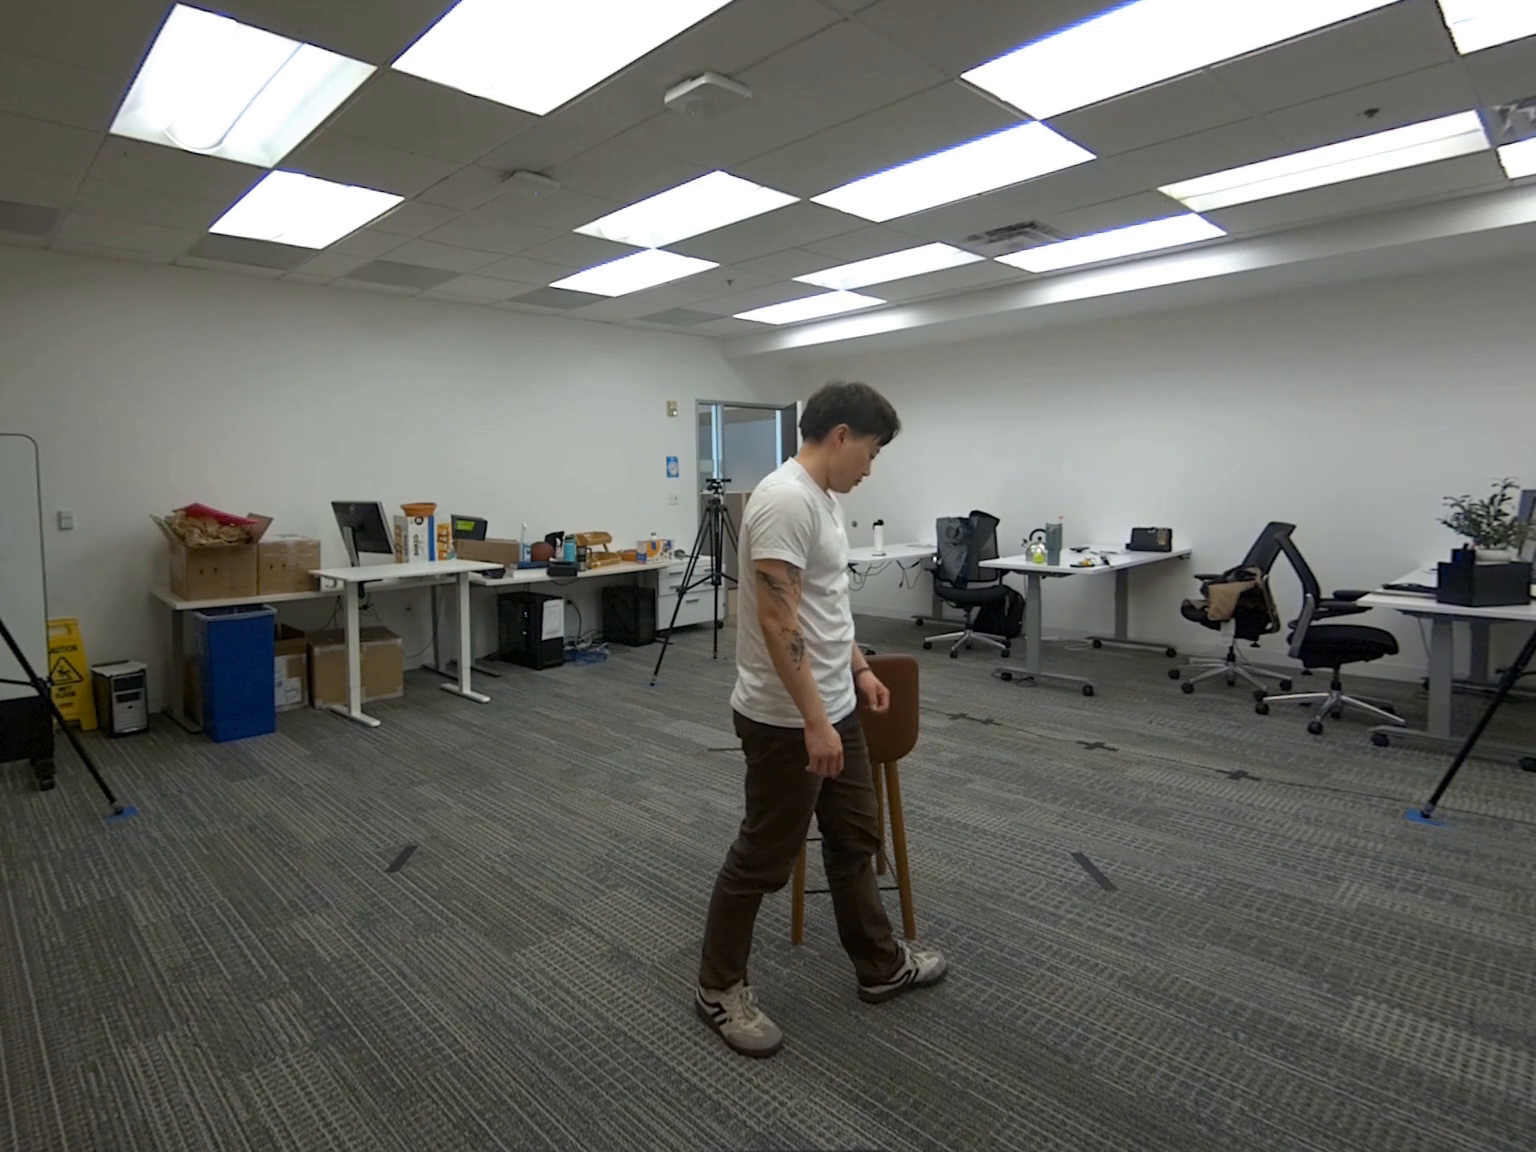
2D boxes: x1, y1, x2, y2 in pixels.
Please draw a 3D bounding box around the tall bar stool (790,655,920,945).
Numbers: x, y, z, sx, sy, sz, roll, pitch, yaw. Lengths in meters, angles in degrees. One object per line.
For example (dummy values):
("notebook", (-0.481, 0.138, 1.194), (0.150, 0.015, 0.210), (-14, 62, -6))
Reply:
("tall bar stool", (0.231, 0.644, 2.752), (0.454, 0.884, 0.473), (-2, 6, -6))
